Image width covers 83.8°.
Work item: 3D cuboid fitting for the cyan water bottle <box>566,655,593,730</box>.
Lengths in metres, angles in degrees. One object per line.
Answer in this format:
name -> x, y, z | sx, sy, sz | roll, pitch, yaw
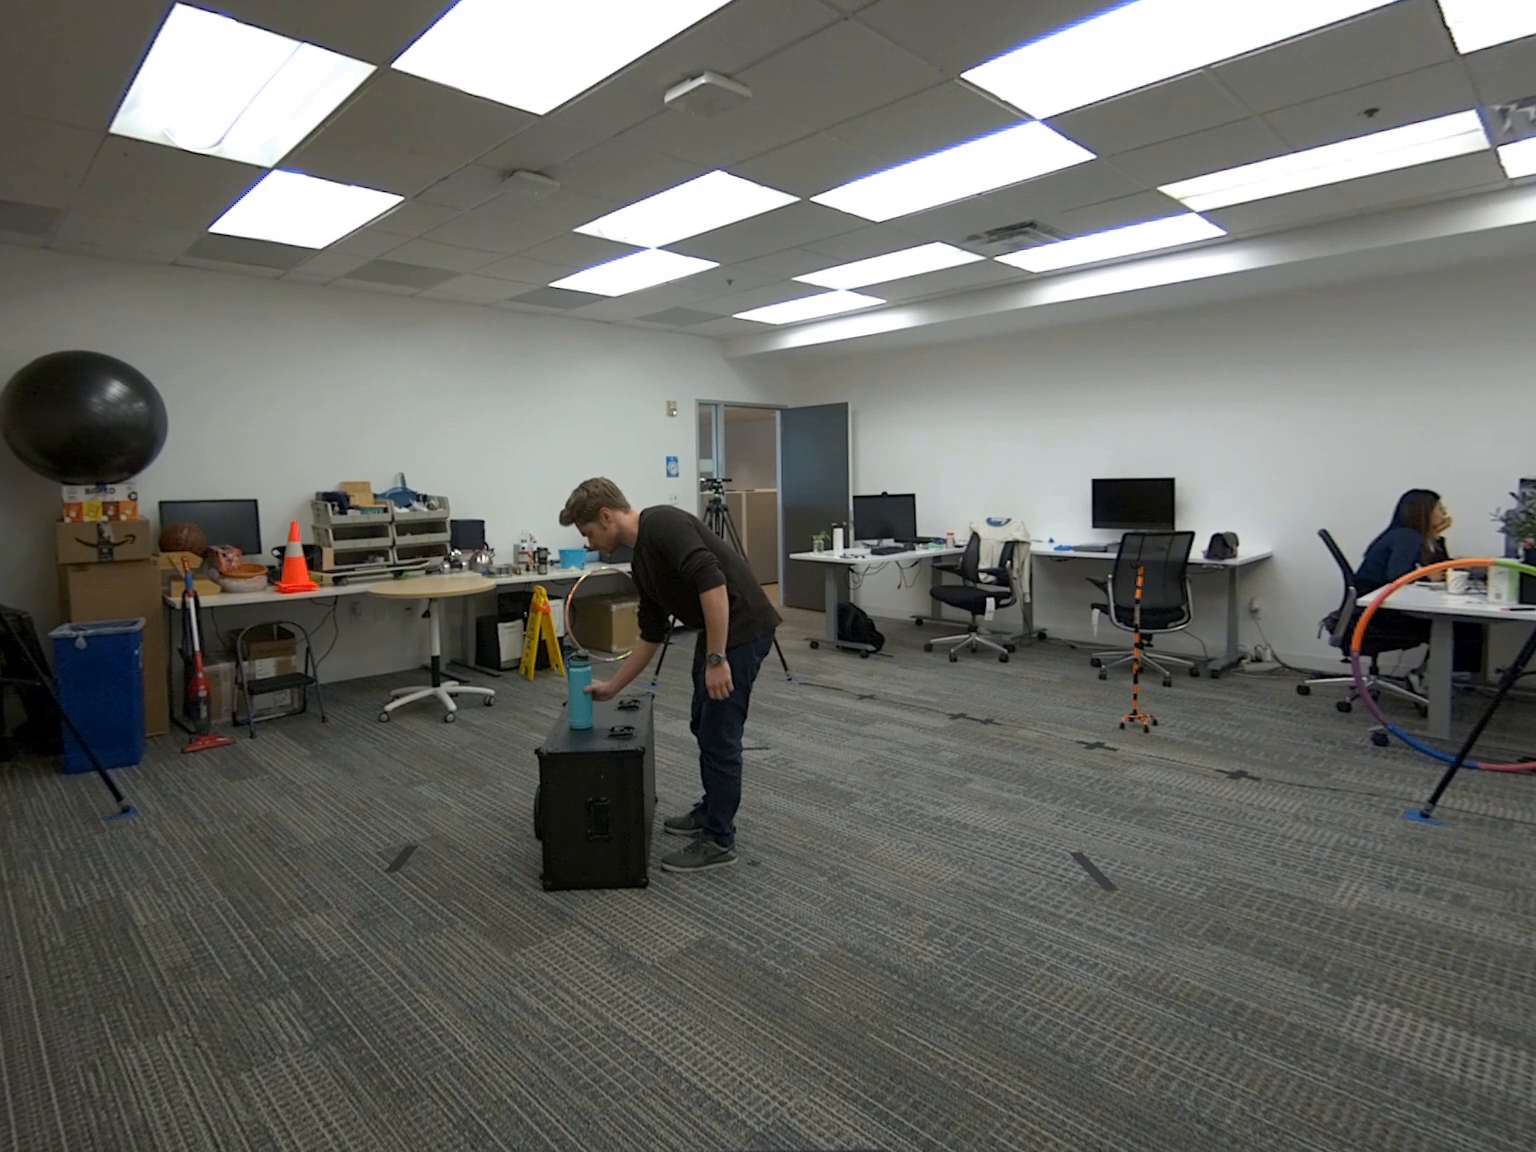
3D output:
cyan water bottle -> -0.705, 0.421, 3.210 | 0.092, 0.282, 0.093 | -3, 3, -1
